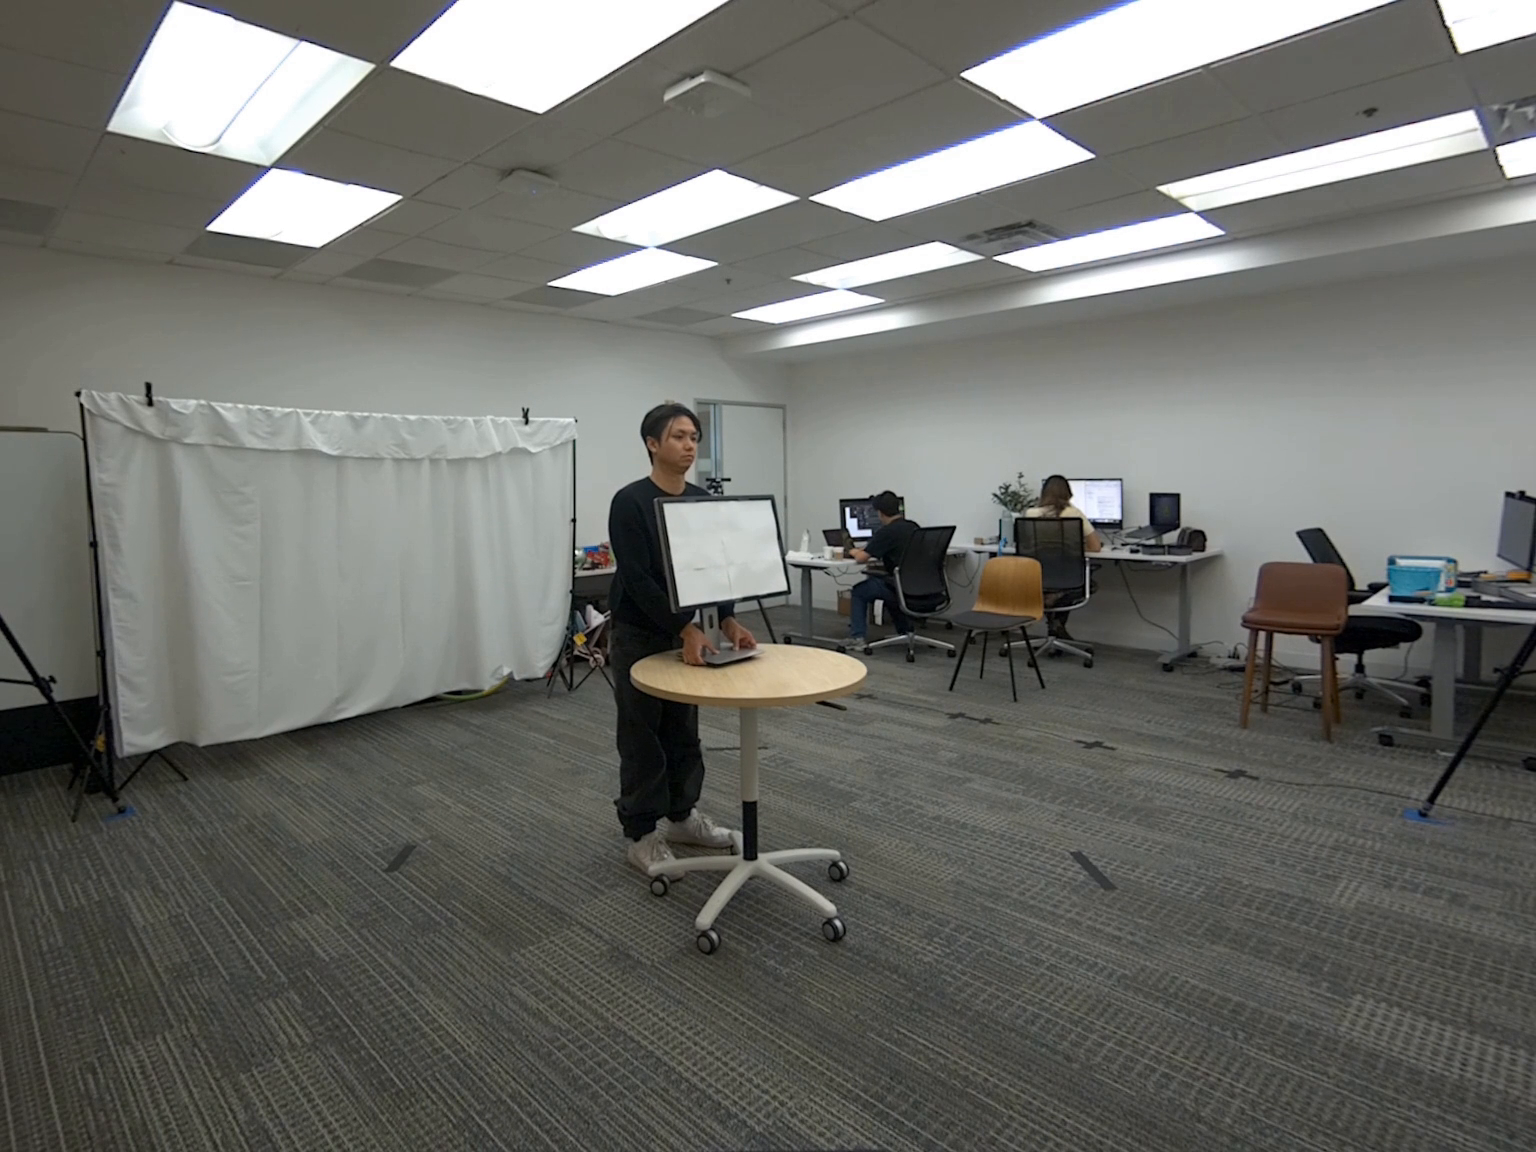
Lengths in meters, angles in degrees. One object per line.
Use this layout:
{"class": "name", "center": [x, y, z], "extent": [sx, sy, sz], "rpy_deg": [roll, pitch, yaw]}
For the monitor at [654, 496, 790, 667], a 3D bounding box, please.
{"class": "monitor", "center": [-0.165, 0.003, 2.890], "extent": [0.193, 0.520, 0.525], "rpy_deg": [3, 6, 41]}
